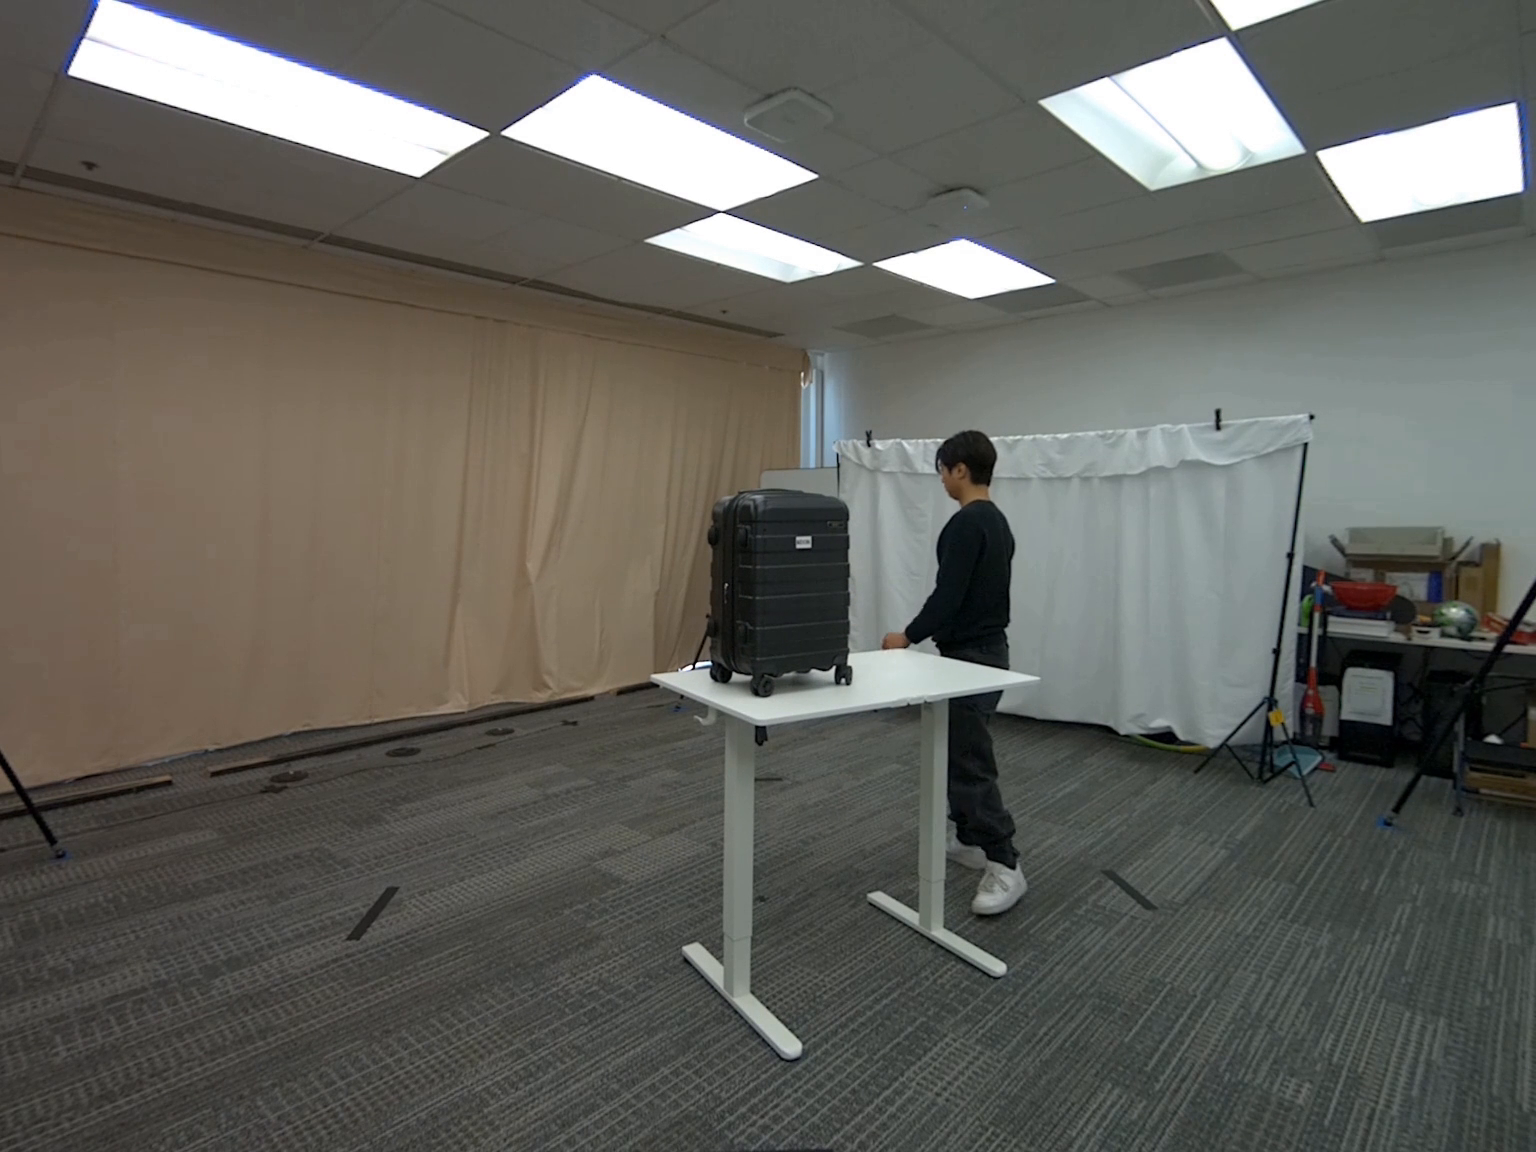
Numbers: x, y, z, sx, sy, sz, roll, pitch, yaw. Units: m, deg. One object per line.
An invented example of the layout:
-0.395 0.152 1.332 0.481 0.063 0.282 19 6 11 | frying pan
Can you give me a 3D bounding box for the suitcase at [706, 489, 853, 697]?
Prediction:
0.037 0.032 2.380 0.365 0.548 0.256 -1 4 -33 | suitcase
